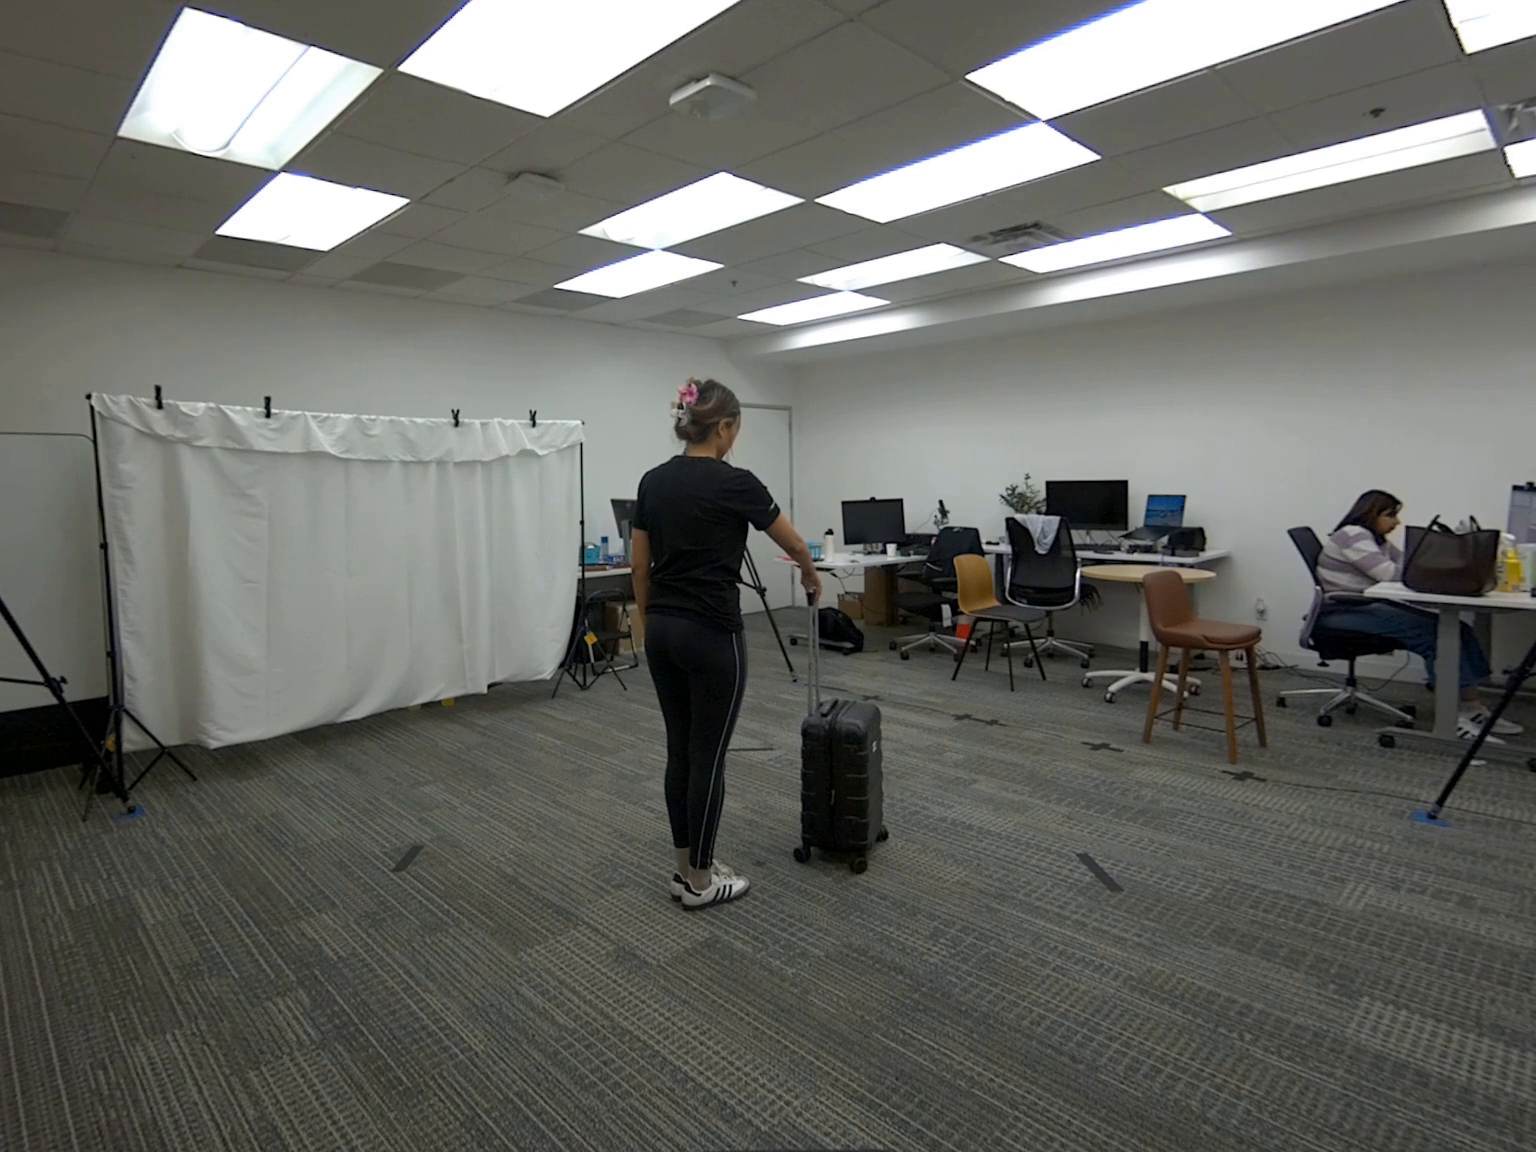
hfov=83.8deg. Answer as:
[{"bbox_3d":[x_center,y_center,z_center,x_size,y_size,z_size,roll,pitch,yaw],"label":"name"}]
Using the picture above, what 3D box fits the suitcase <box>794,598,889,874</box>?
[{"bbox_3d":[0.289,0.558,3.189,0.262,0.975,0.378,3,4,19],"label":"suitcase"}]
